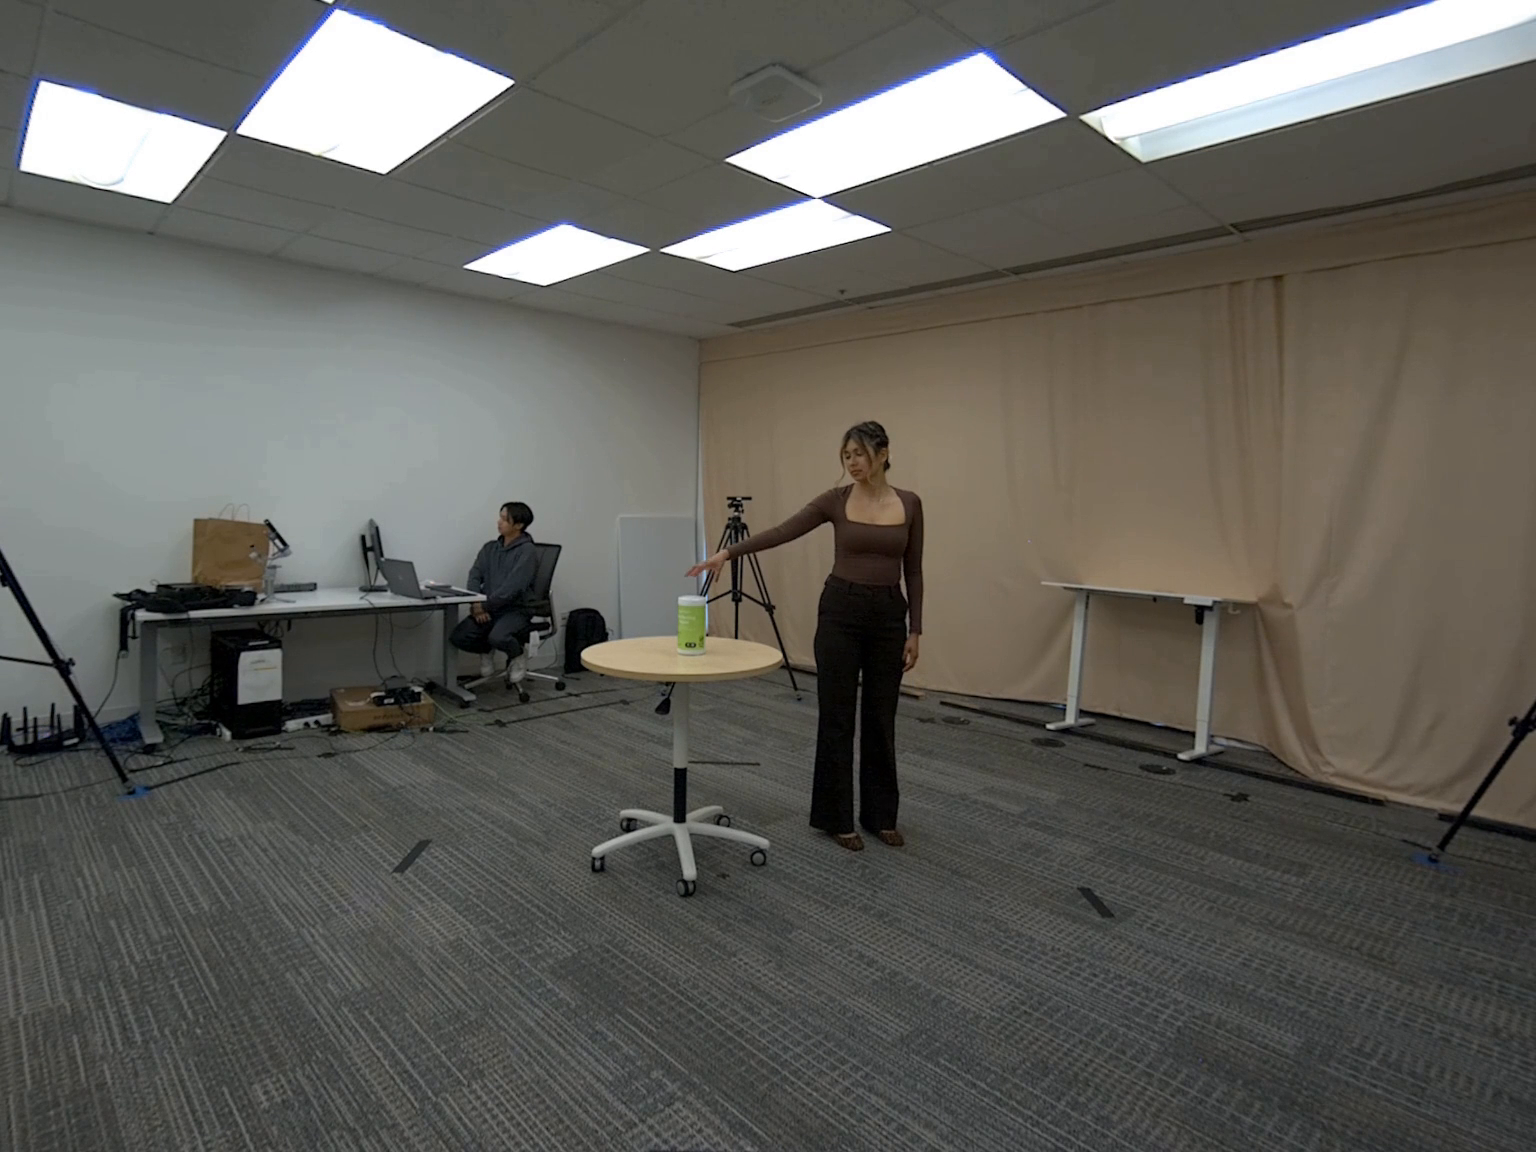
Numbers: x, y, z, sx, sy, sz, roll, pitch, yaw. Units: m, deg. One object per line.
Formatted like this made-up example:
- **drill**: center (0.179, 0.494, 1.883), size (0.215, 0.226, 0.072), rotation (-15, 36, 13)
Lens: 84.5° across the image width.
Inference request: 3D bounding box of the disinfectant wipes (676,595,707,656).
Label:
- **disinfectant wipes**: center (-0.298, 0.189, 3.214), size (0.118, 0.217, 0.118), rotation (2, 5, -2)
